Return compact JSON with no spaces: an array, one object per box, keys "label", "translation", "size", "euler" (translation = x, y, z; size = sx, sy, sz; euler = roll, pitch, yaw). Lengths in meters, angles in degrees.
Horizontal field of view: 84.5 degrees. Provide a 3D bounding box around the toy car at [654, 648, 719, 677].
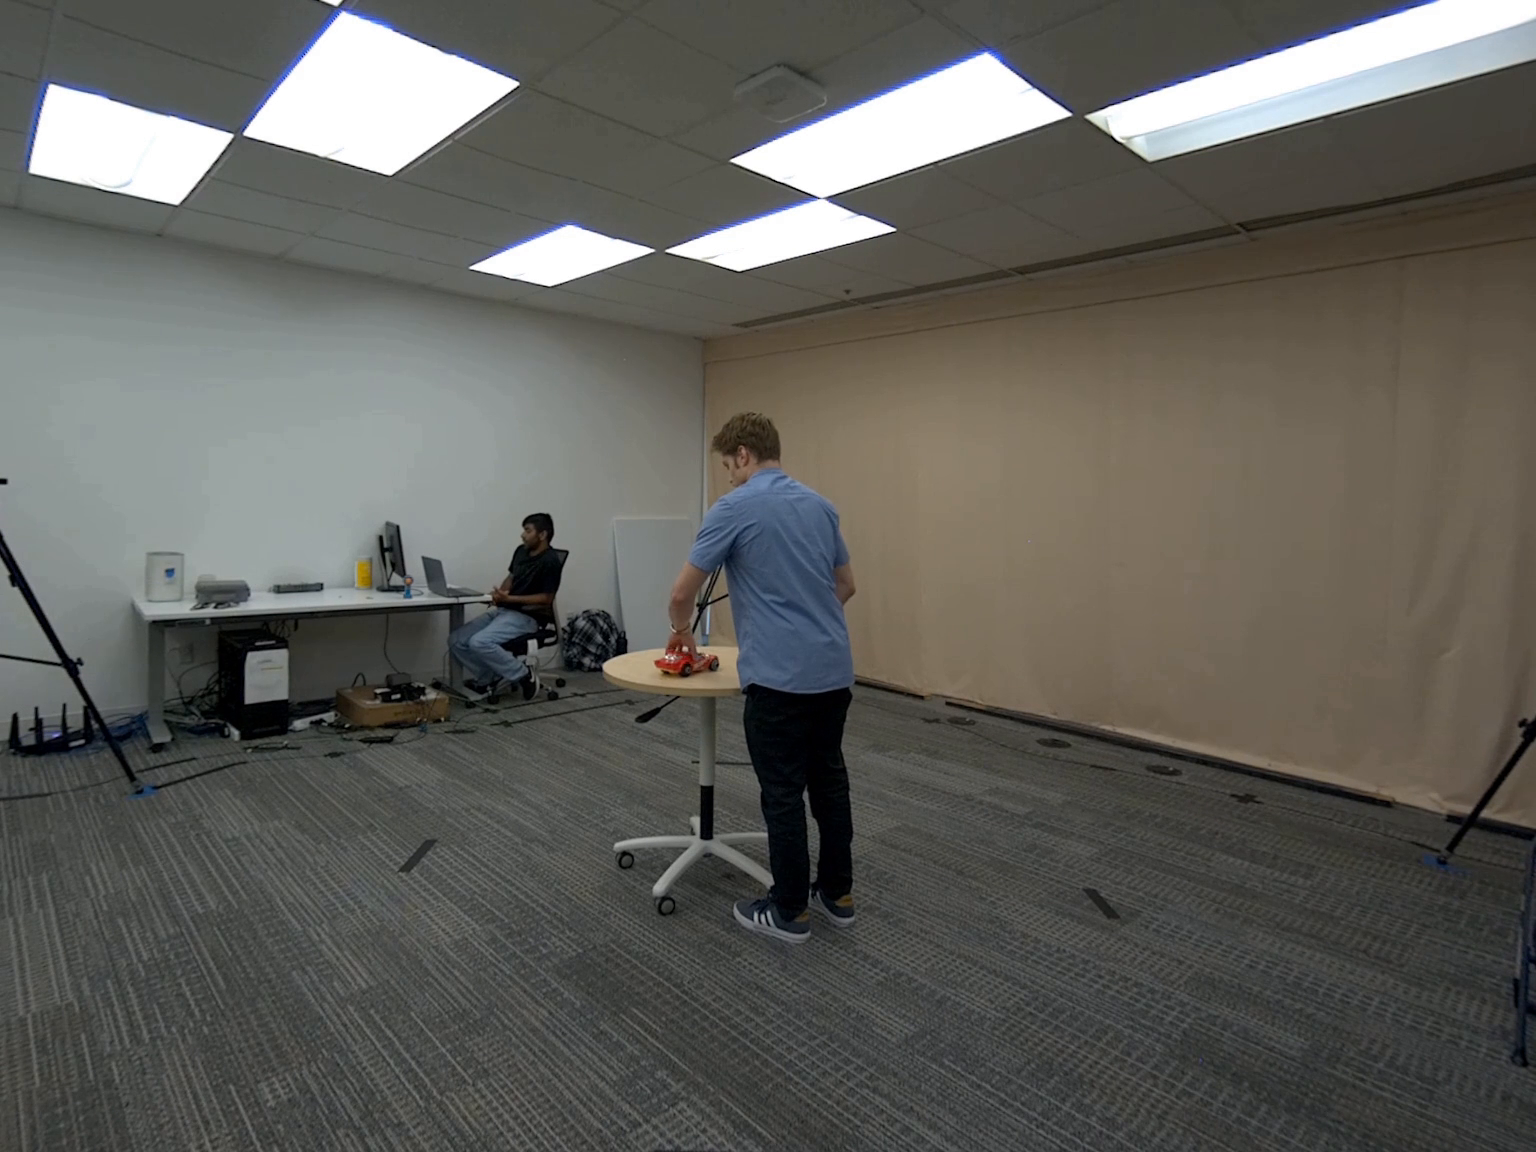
[{"label":"toy car","translation":[-0.300,0.308,2.928],"size":[0.133,0.083,0.248],"euler":[3,-4,38]}]
